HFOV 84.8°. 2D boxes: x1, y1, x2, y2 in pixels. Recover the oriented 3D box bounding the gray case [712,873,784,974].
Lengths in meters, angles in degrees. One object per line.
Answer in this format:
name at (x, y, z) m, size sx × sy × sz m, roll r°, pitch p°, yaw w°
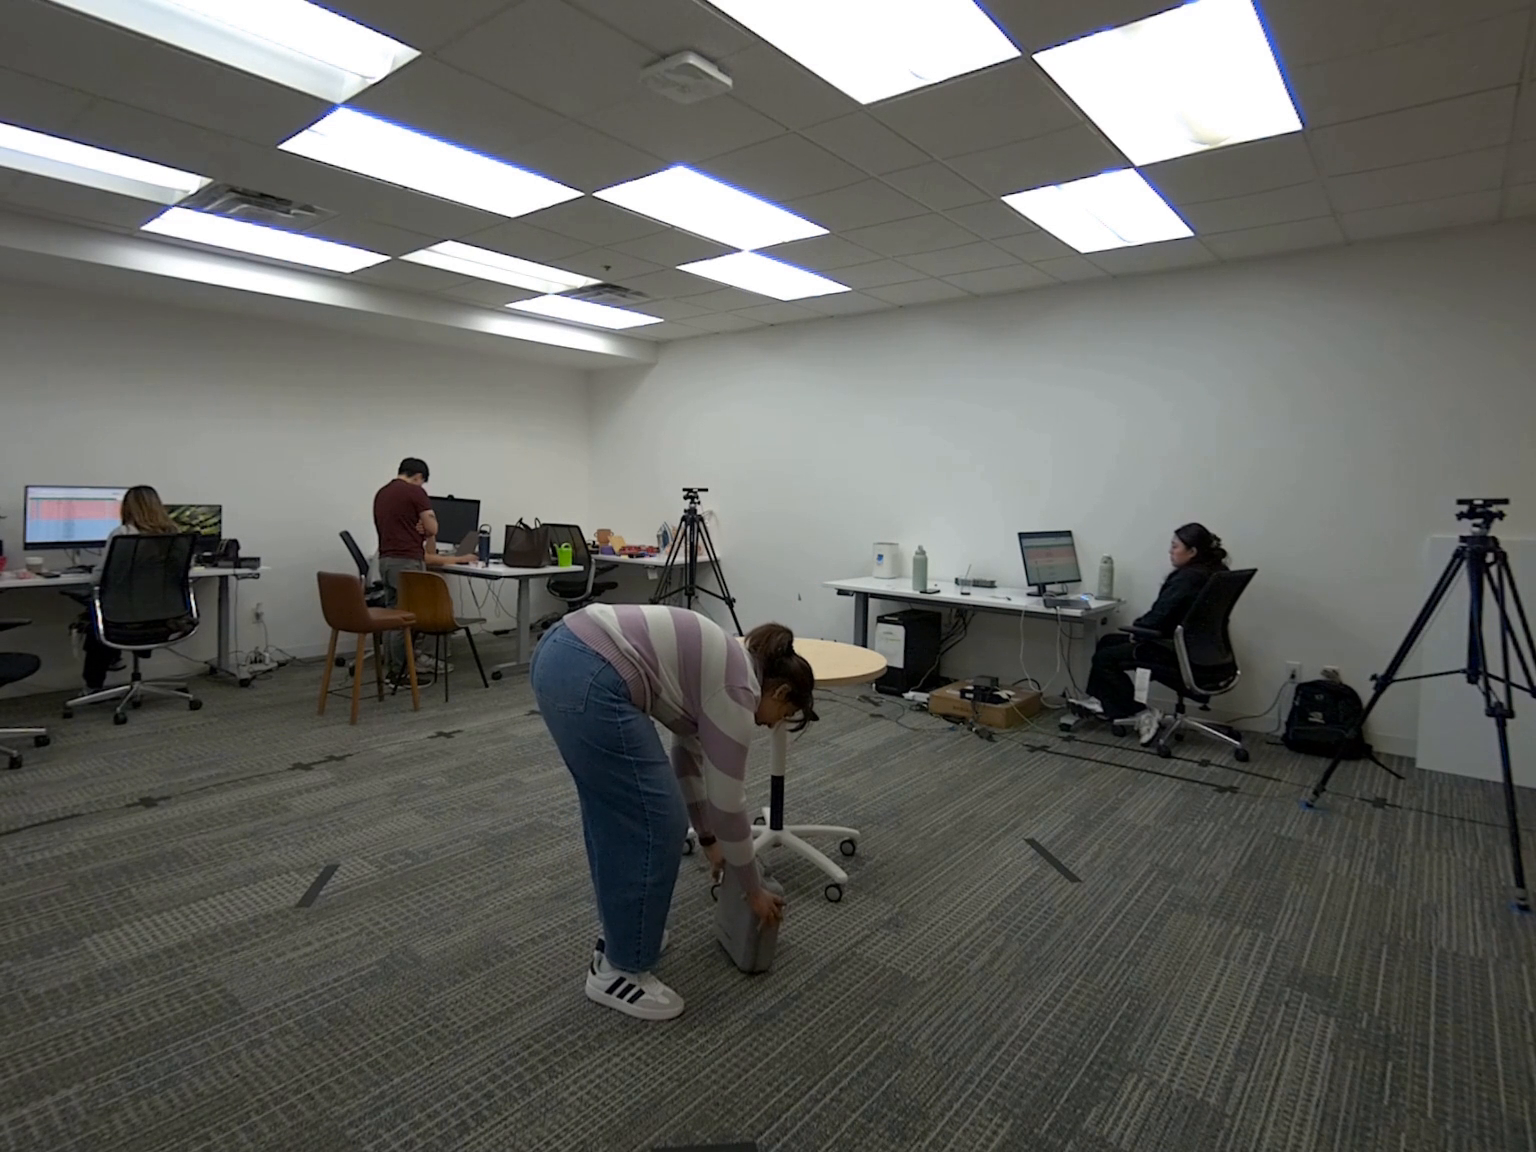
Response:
gray case at (-0.072, 0.998, 2.533) m, size 0.102 × 0.260 × 0.264 m, roll 6°, pitch 4°, yaw -24°
